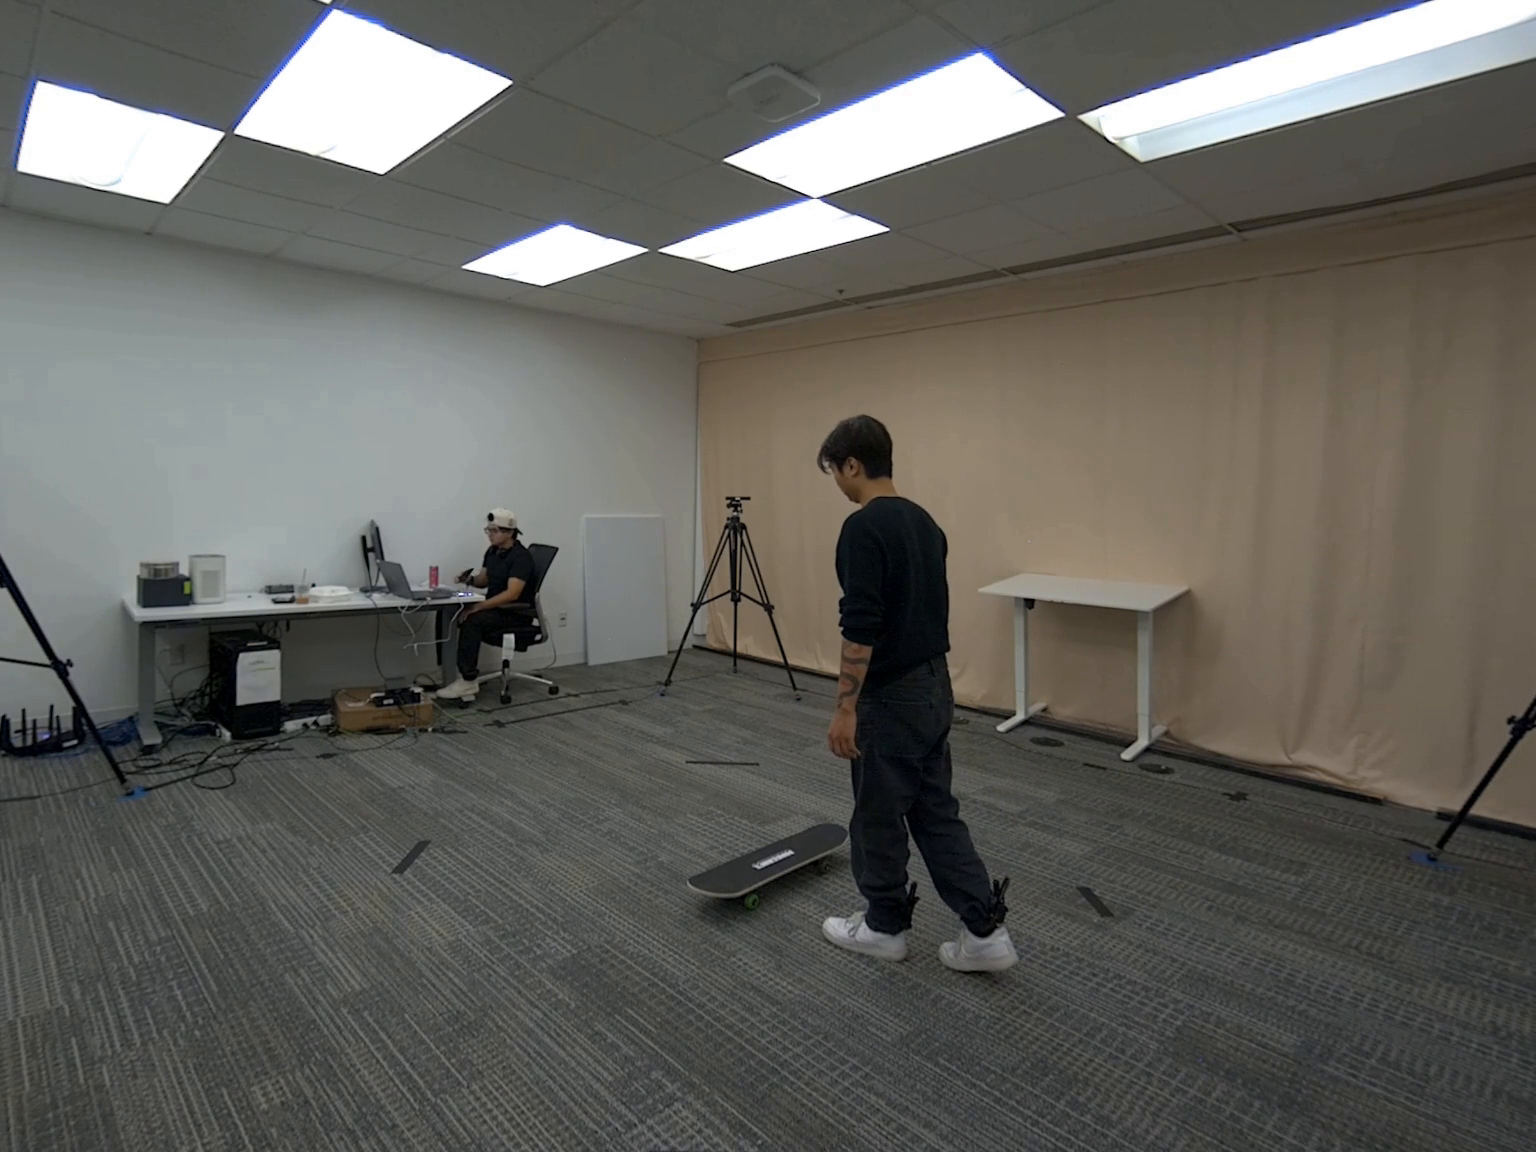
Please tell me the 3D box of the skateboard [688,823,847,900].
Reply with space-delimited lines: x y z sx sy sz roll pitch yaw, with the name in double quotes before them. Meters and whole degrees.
"skateboard" 0.013 1.055 3.046 0.198 0.110 0.768 5 6 42
